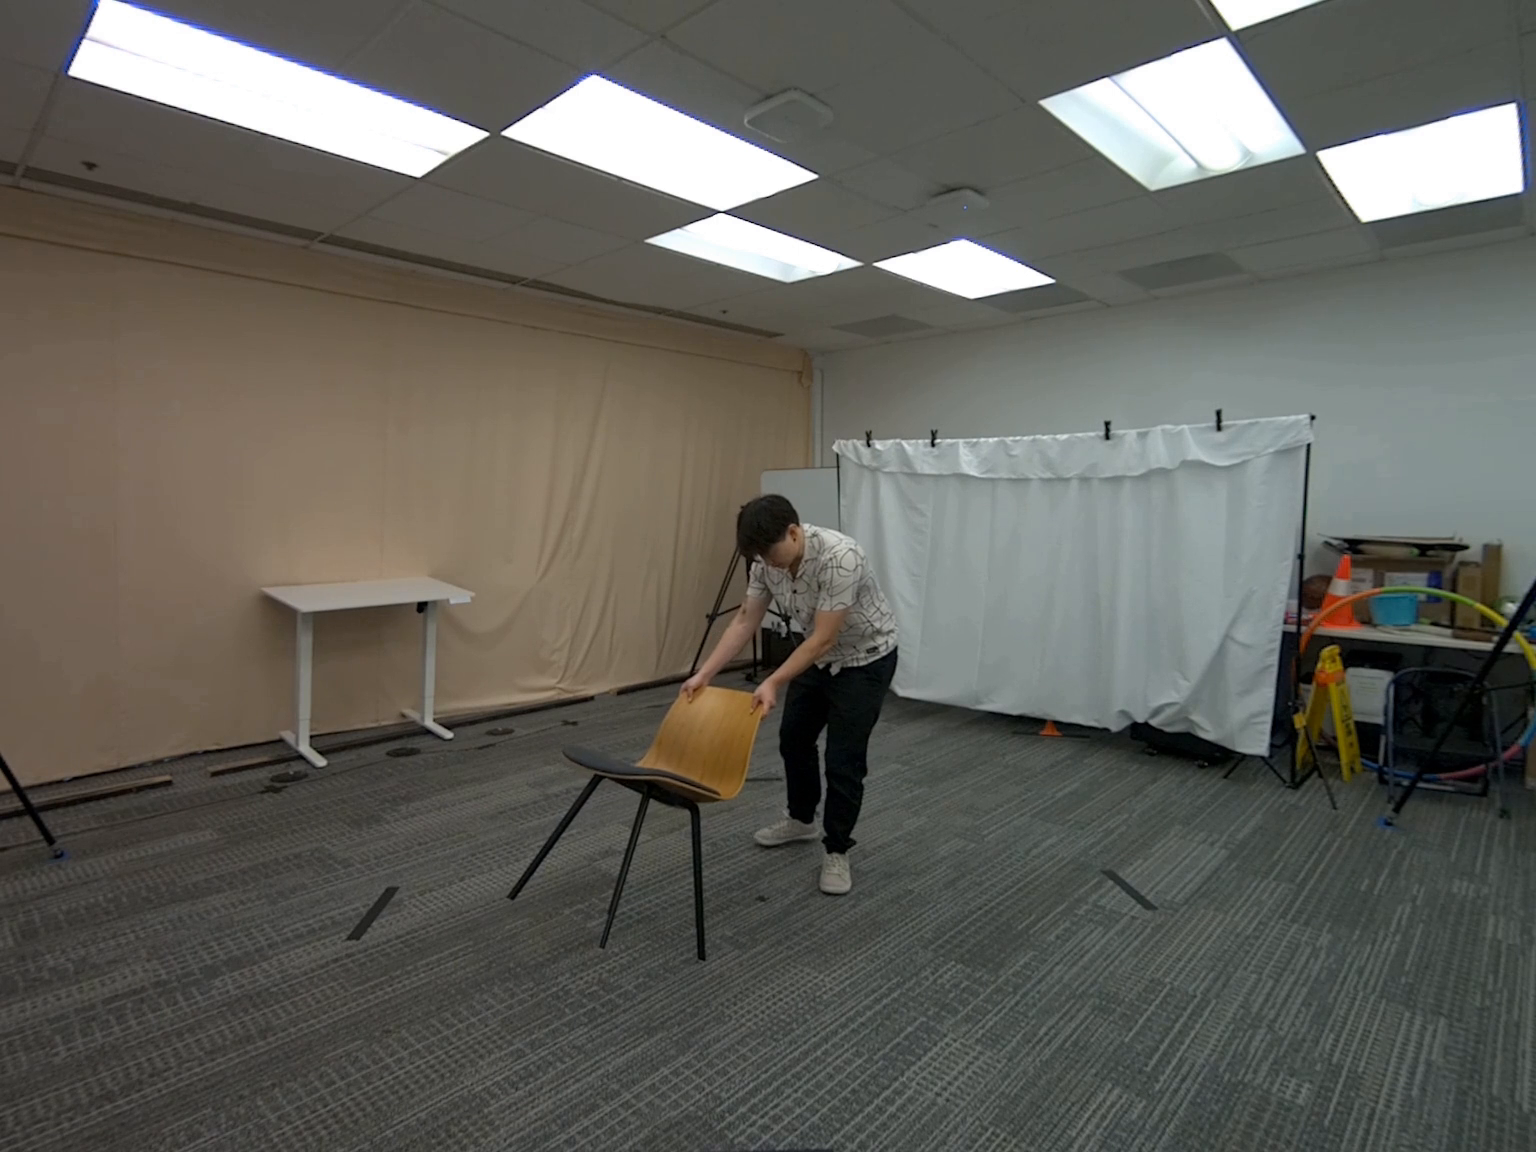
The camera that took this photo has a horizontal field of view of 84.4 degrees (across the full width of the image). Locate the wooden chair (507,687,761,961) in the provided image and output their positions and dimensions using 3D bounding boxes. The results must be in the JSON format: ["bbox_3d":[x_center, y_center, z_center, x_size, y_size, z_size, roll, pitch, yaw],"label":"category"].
[{"bbox_3d":[-0.377,0.683,2.680,0.494,0.881,0.504,2,-26,41],"label":"wooden chair"}]
